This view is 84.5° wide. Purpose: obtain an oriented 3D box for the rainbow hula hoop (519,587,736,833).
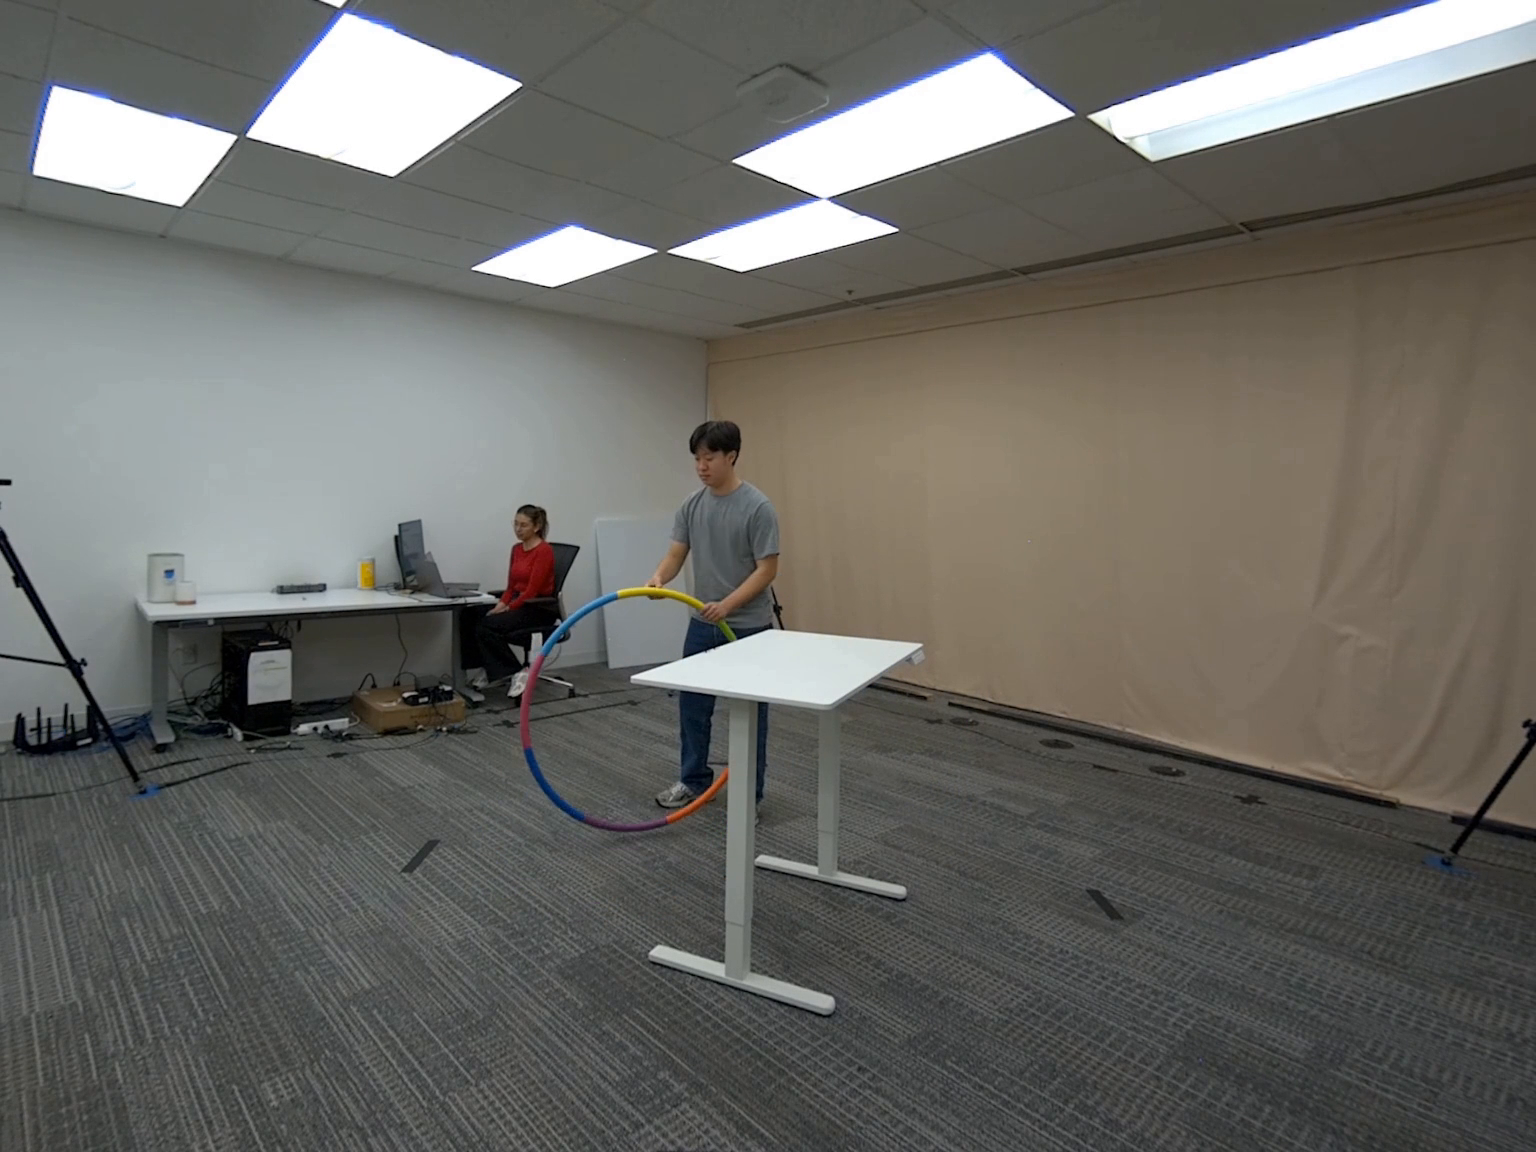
[{"bbox_3d":[-0.523,0.539,3.406,0.962,0.976,0.036,0,3,-22],"label":"rainbow hula hoop"}]
